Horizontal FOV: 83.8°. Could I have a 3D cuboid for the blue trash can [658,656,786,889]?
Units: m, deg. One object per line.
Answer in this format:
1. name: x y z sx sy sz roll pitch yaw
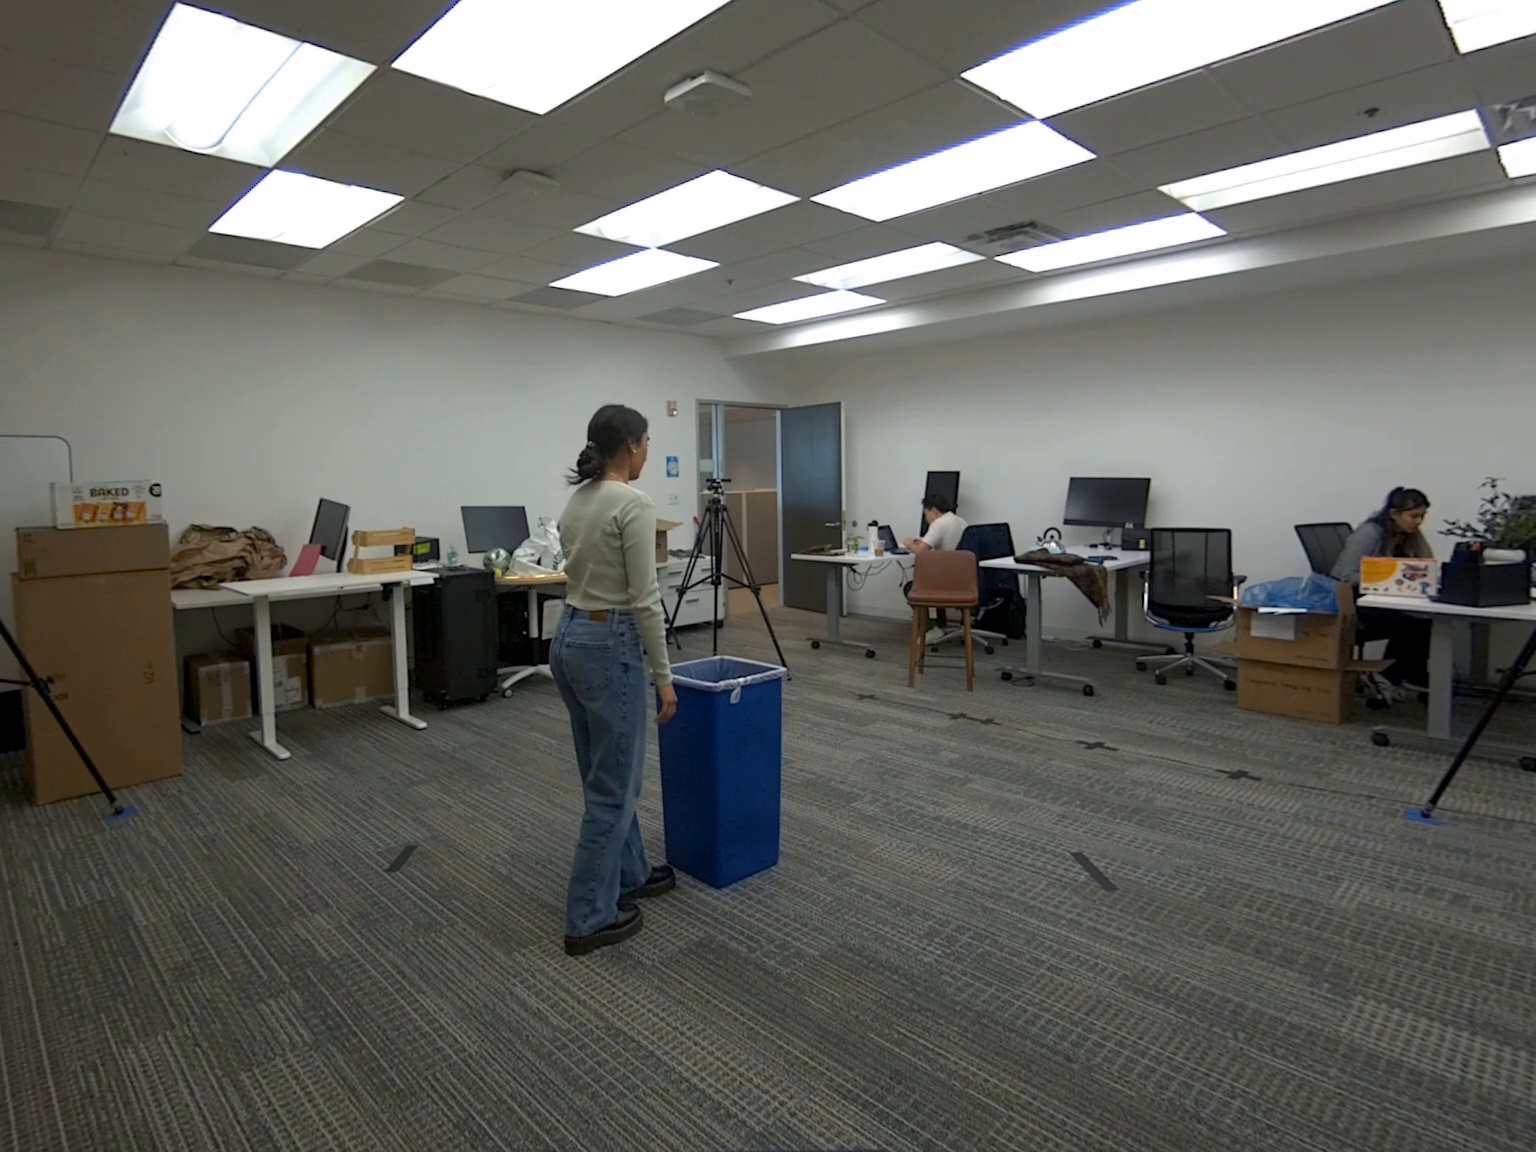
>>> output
1. blue trash can: -0.175 0.689 3.098 0.368 0.711 0.385 -4 5 -43
